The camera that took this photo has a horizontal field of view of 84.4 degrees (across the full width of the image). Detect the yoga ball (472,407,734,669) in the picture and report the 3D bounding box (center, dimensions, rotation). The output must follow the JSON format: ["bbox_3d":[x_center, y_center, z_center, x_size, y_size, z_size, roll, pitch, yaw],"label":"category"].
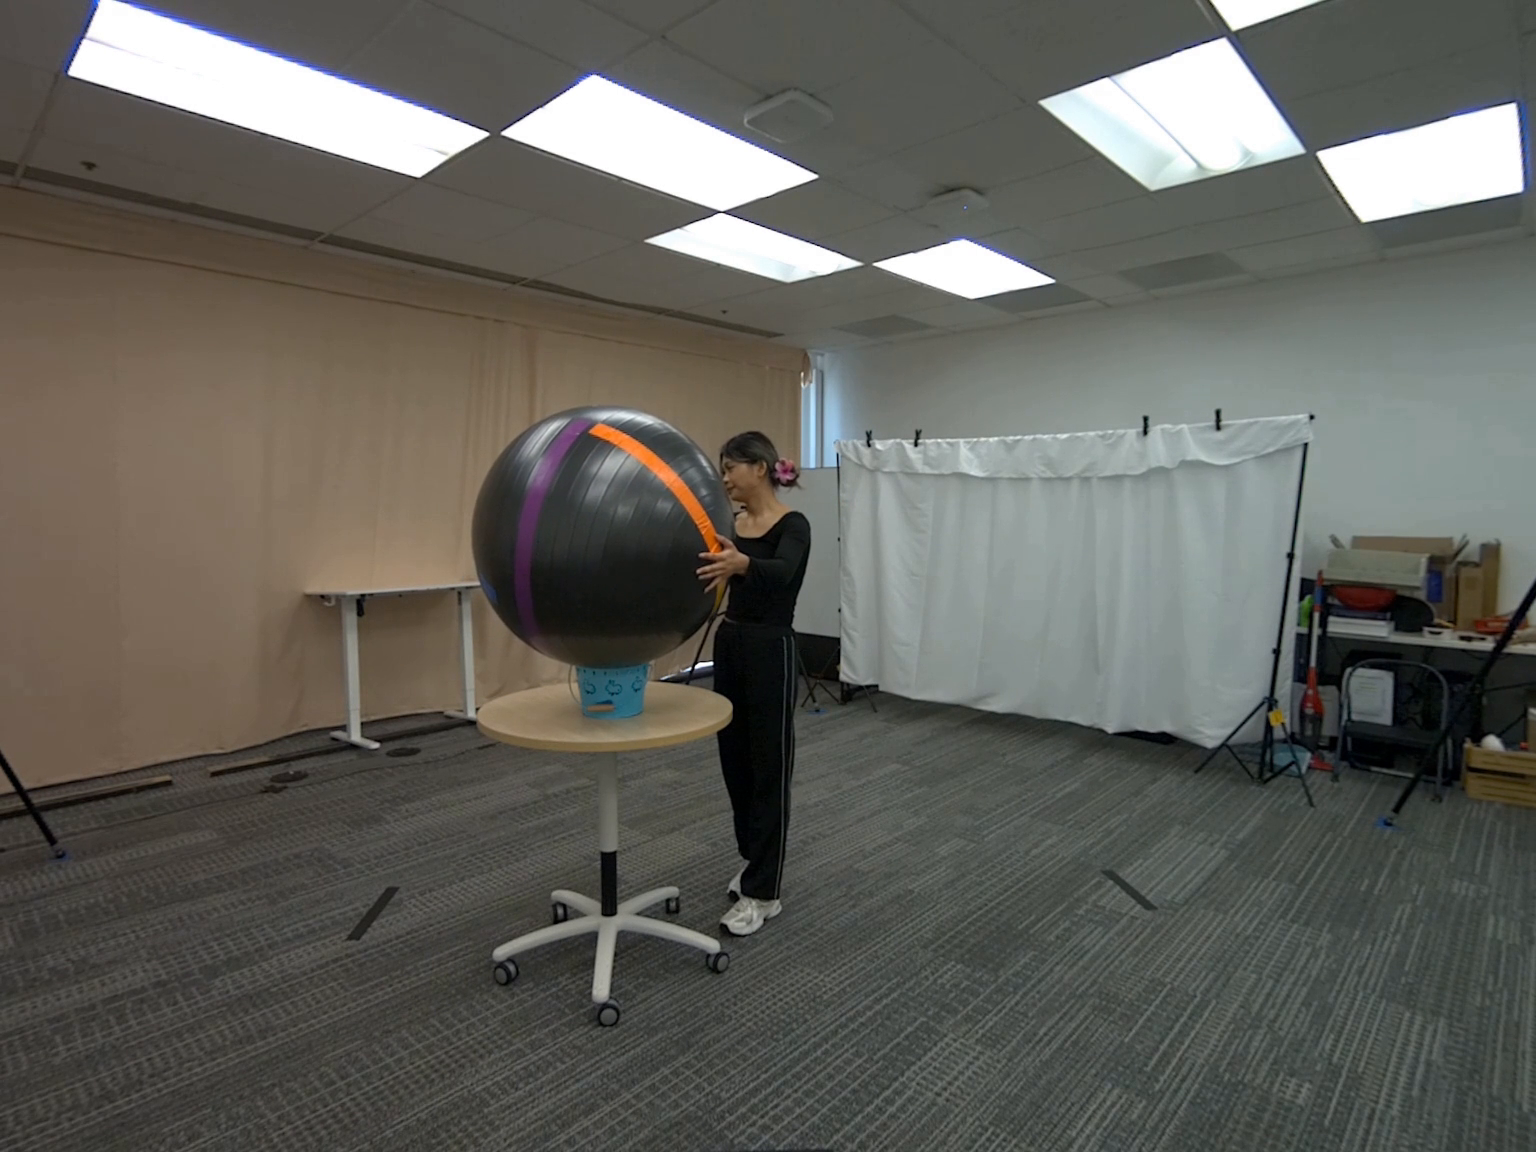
[{"bbox_3d":[-0.479,-0.106,2.438,0.757,0.756,0.760,0,4,-2],"label":"yoga ball"}]
